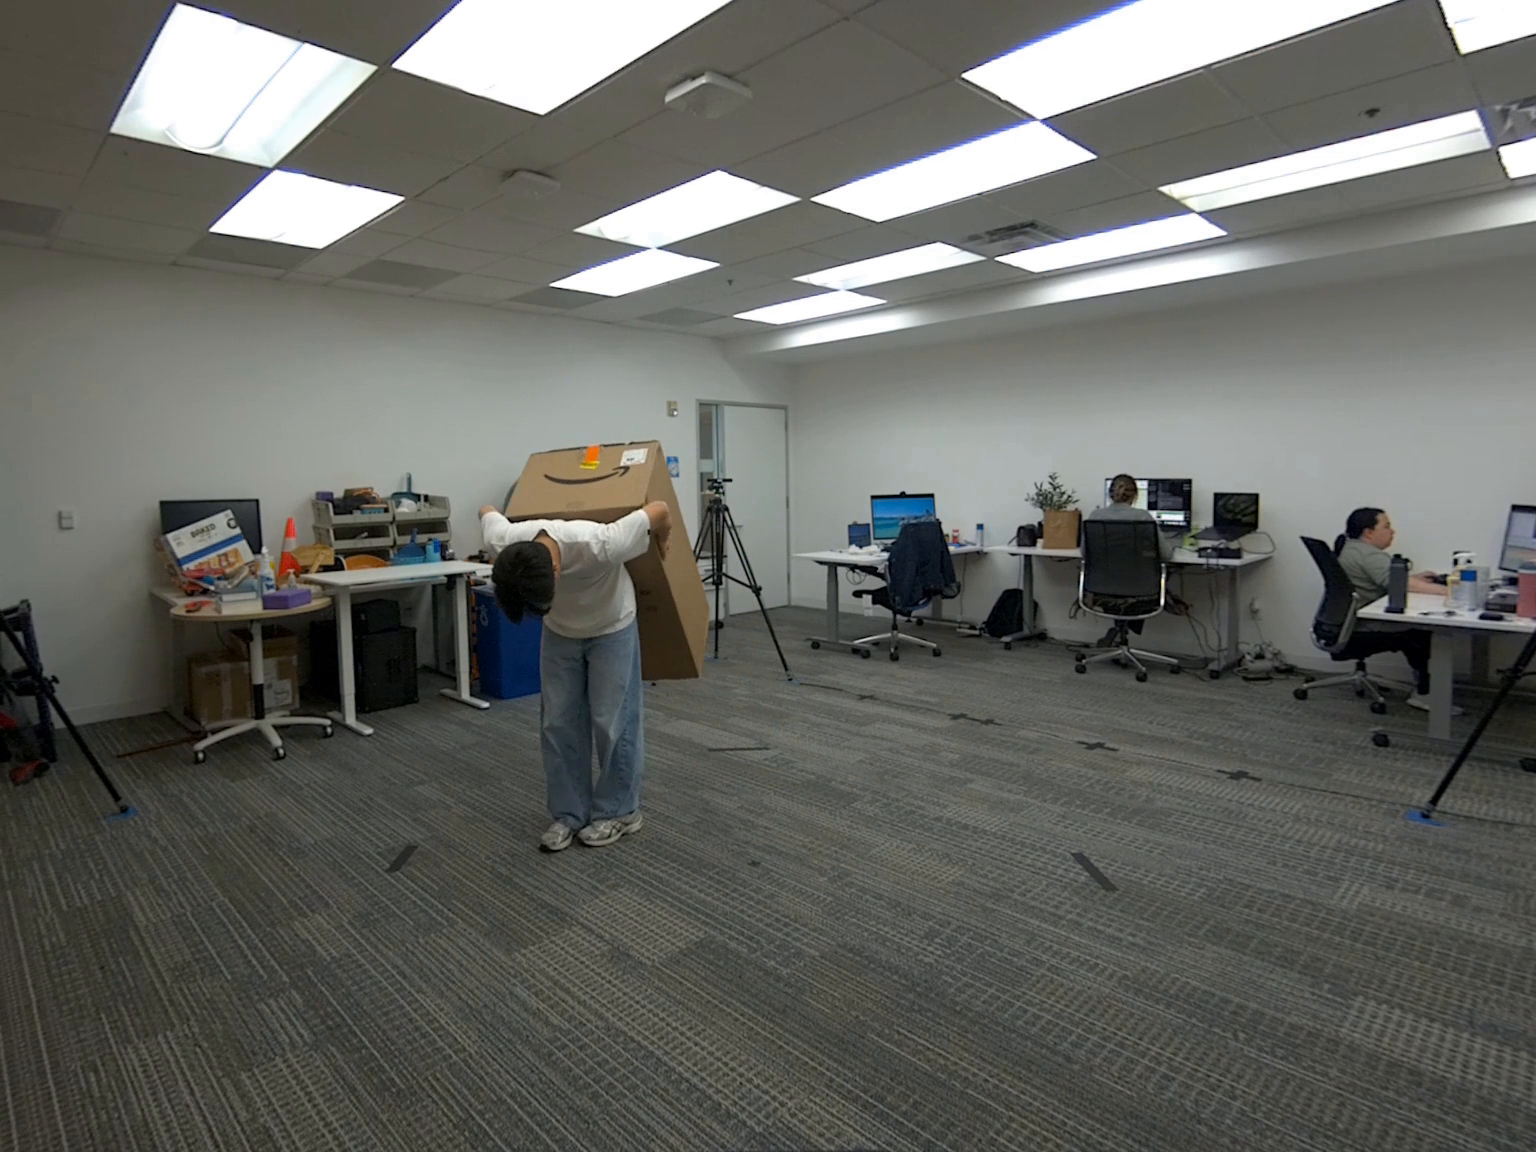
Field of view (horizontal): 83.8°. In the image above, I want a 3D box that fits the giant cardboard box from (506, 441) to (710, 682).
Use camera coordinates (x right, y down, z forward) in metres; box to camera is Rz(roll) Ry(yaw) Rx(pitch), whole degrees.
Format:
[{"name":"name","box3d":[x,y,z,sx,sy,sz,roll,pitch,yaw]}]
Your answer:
[{"name":"giant cardboard box","box3d":[-0.657,-0.033,3.748,0.584,0.993,0.435,-3,42,11]}]
